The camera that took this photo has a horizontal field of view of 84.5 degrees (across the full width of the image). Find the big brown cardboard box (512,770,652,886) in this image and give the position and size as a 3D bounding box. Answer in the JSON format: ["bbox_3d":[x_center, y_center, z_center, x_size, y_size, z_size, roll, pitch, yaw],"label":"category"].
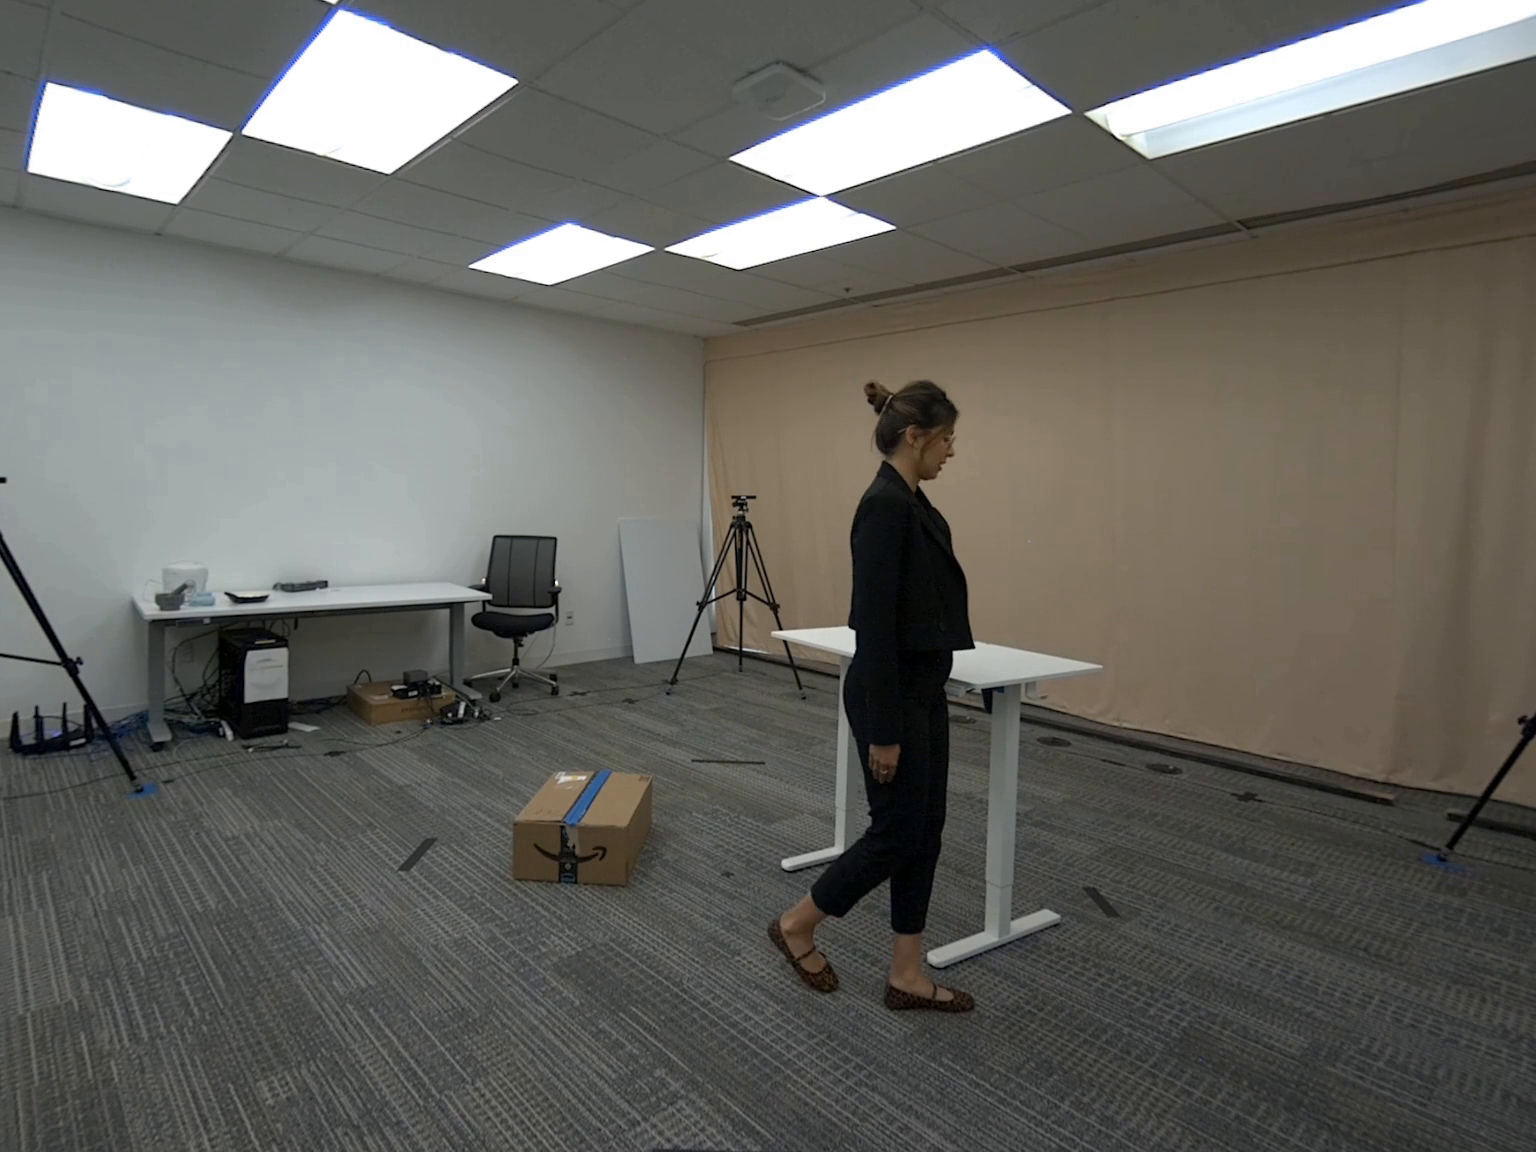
[{"bbox_3d":[-0.709,0.962,3.277,0.418,0.232,0.590,1,6,2],"label":"big brown cardboard box"}]
